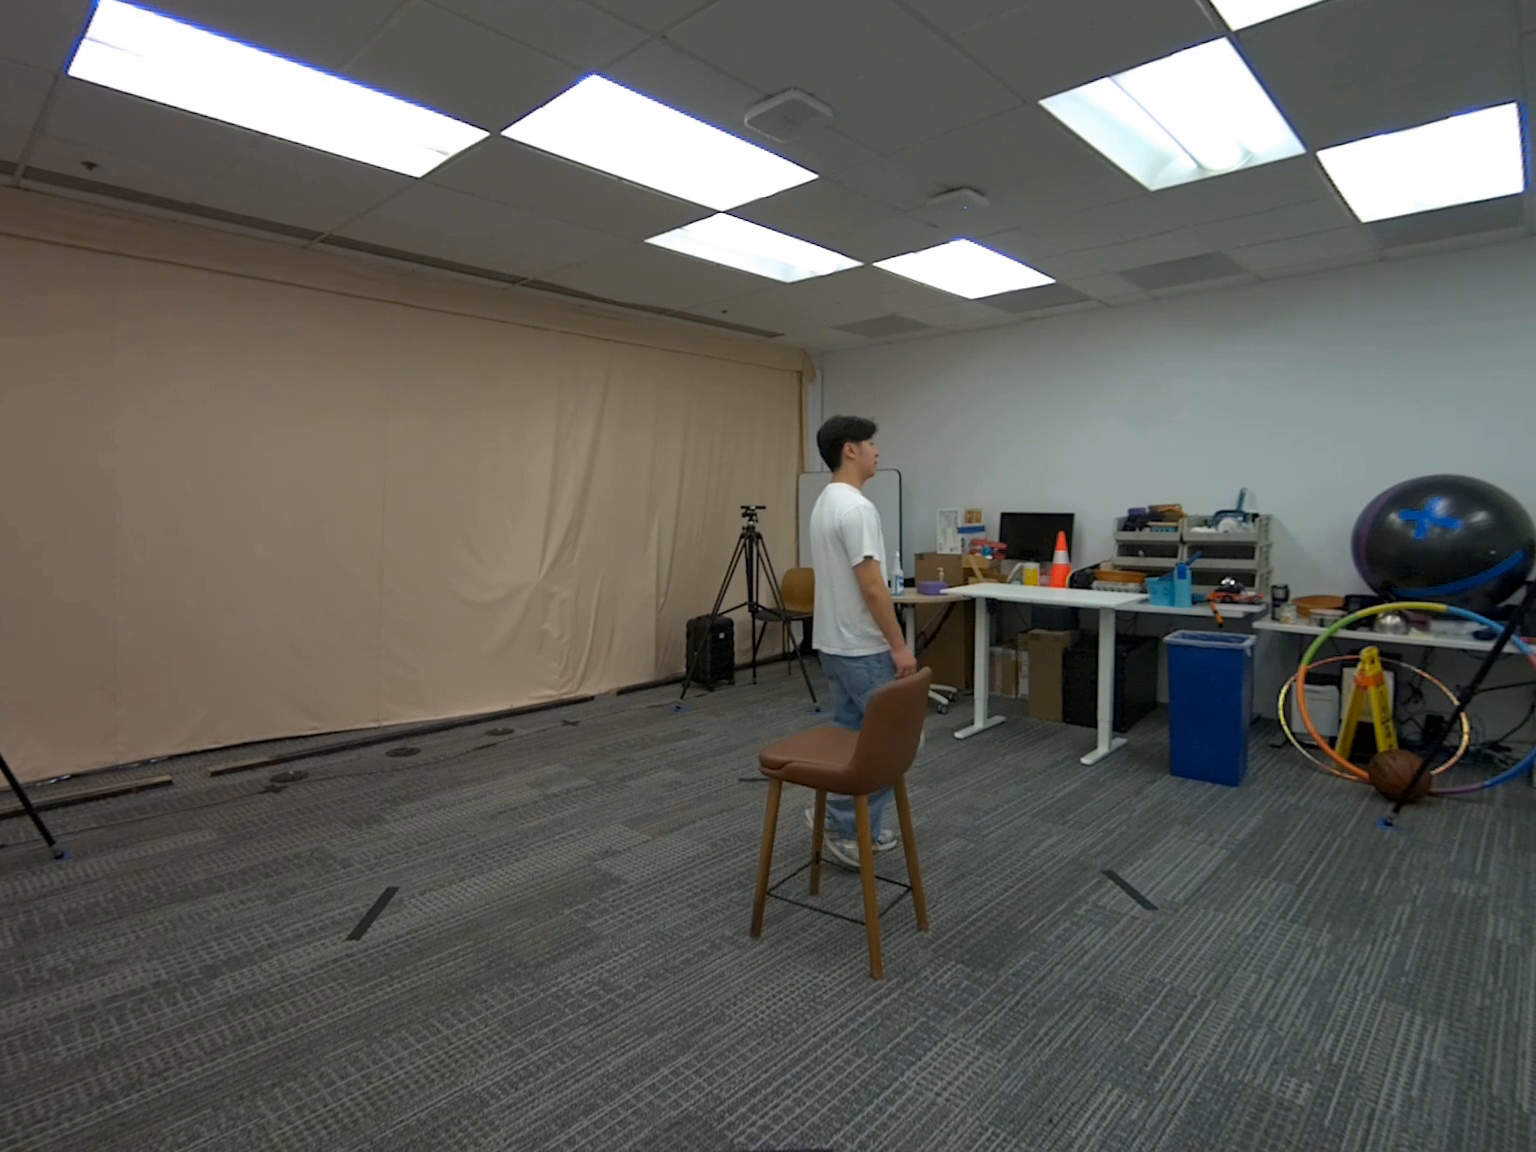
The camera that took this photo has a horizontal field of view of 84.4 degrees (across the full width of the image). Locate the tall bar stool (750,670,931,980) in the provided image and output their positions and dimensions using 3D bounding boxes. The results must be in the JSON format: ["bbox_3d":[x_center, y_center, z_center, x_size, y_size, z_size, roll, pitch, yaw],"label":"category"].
[{"bbox_3d":[0.243,0.730,2.719,0.483,0.887,0.443,5,6,35],"label":"tall bar stool"}]
